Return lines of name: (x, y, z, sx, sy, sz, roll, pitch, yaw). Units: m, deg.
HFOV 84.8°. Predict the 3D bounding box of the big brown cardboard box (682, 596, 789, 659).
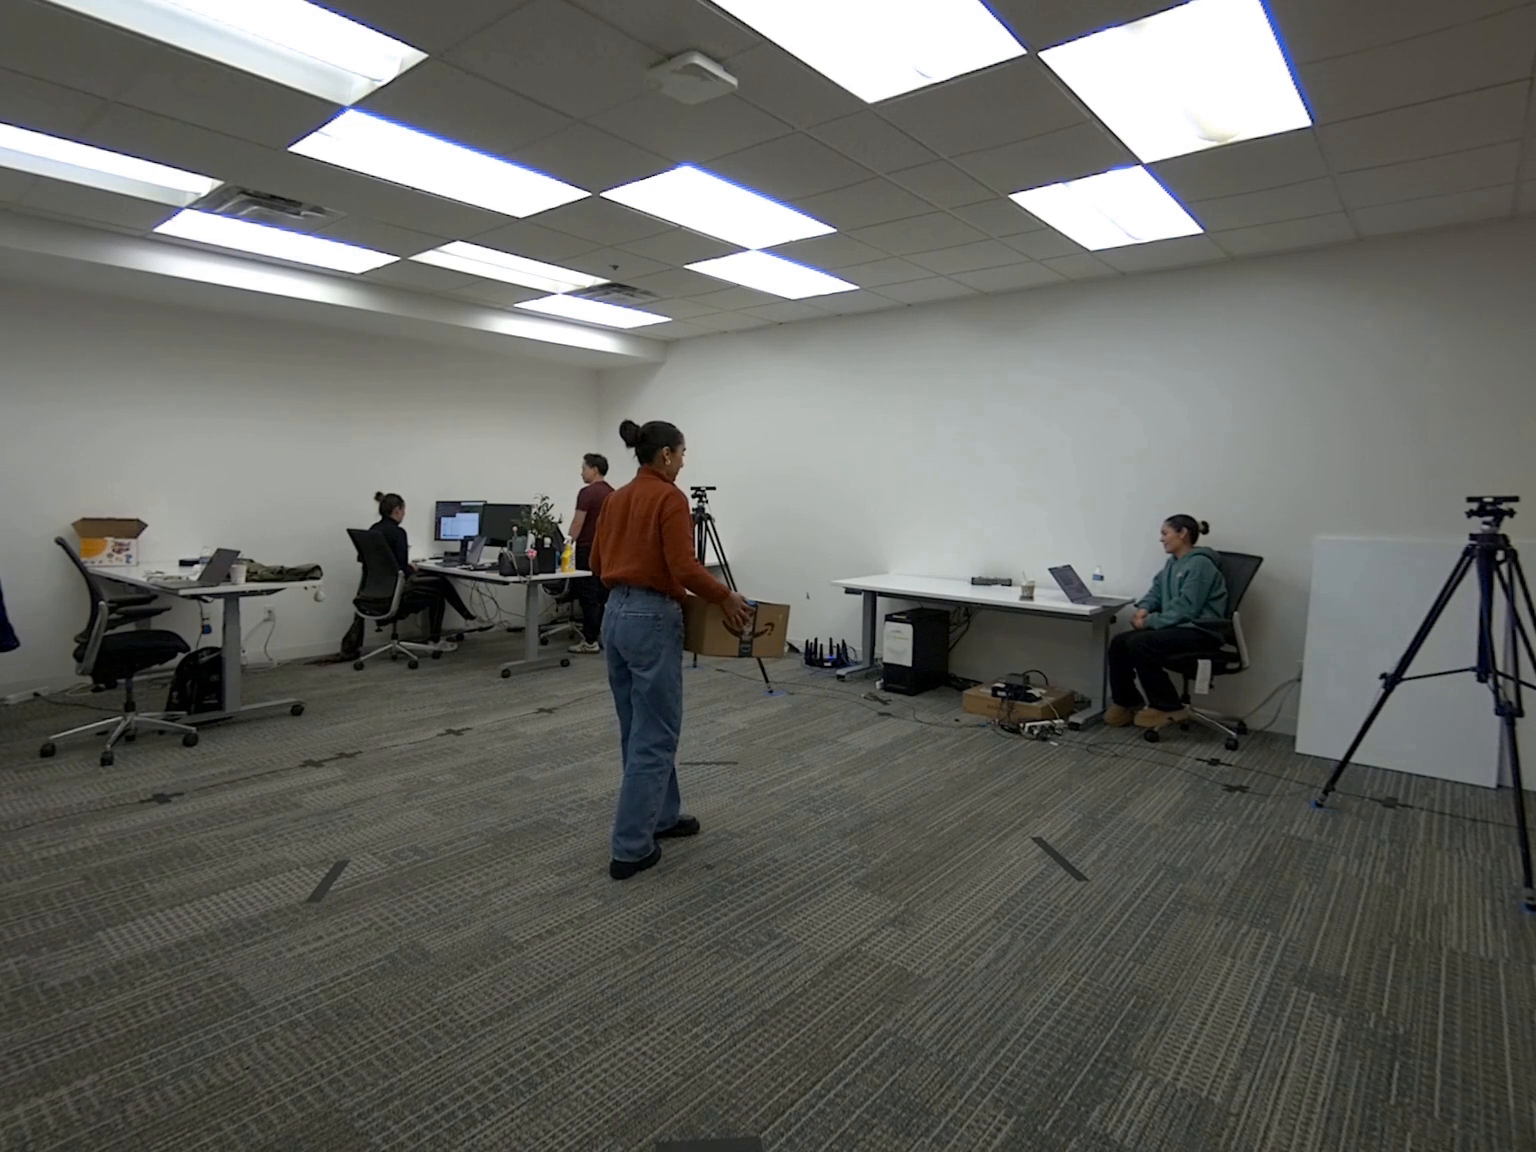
big brown cardboard box: (-0.272, 0.175, 3.452, 0.403, 0.233, 0.609, 7, 0, -42)
